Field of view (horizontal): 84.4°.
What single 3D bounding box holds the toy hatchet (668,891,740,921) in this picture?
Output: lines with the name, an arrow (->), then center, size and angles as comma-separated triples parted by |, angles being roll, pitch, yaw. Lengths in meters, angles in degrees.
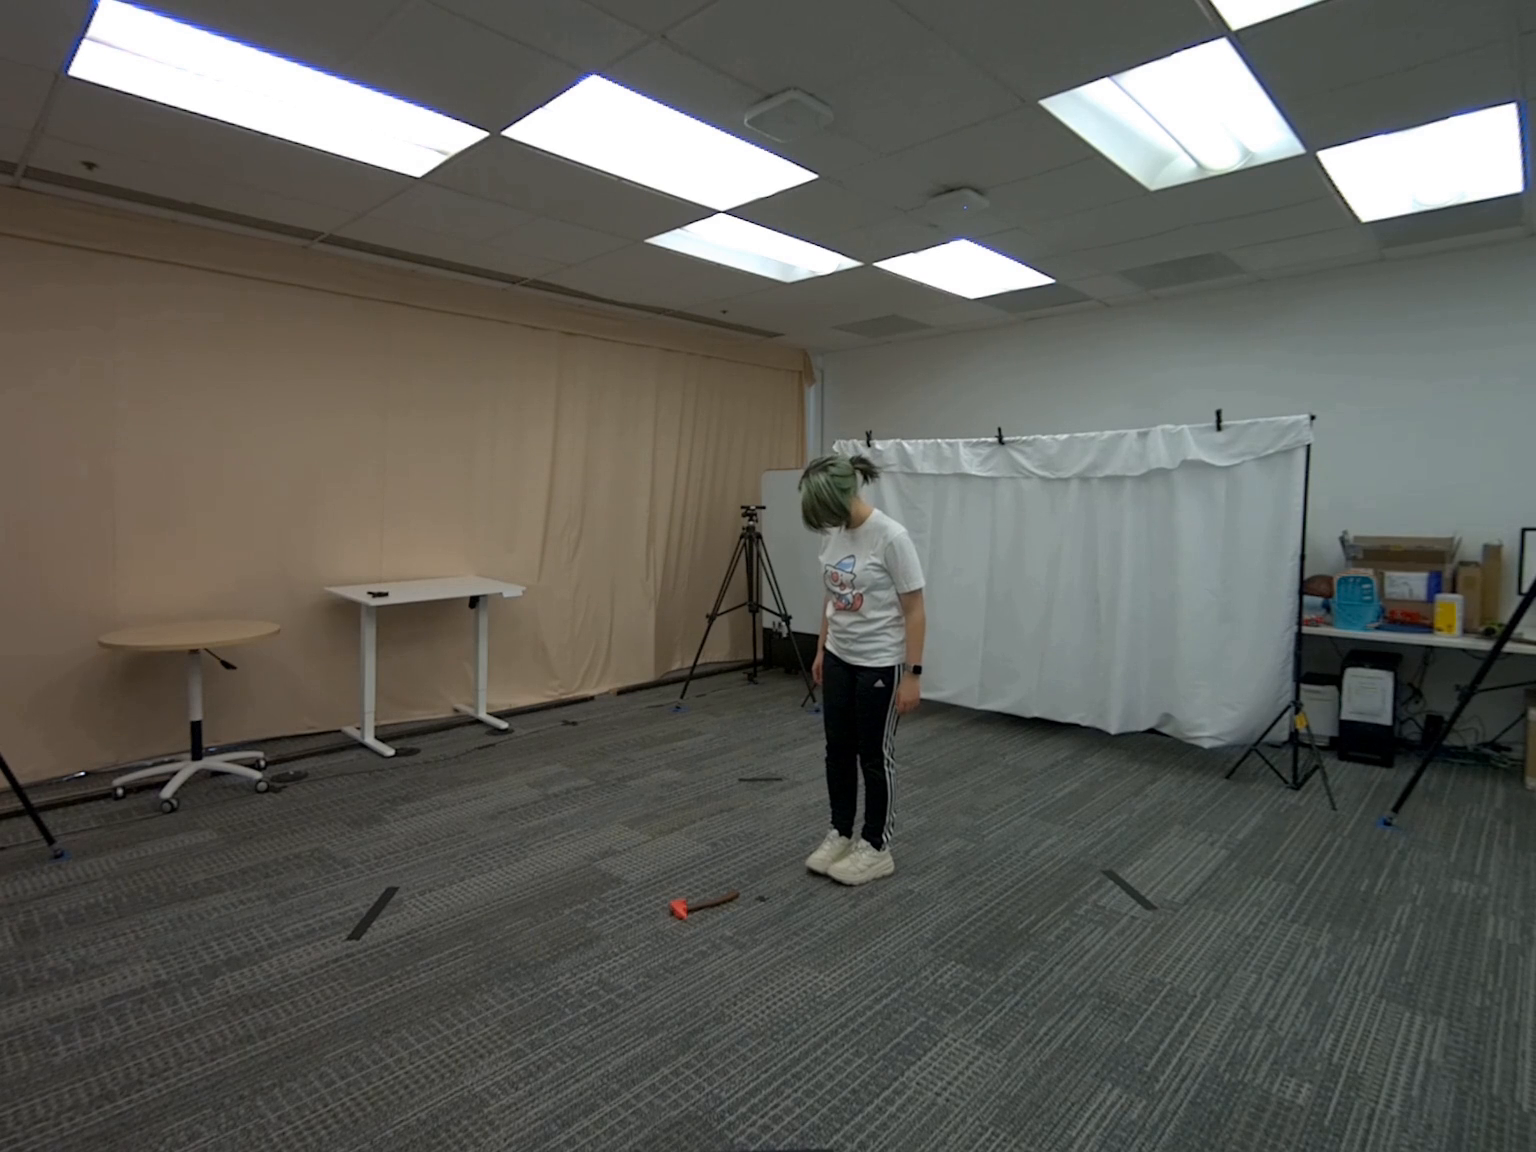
toy hatchet -> -0.238, 1.138, 2.947 | 0.261, 0.029, 0.135 | -3, 3, -45
